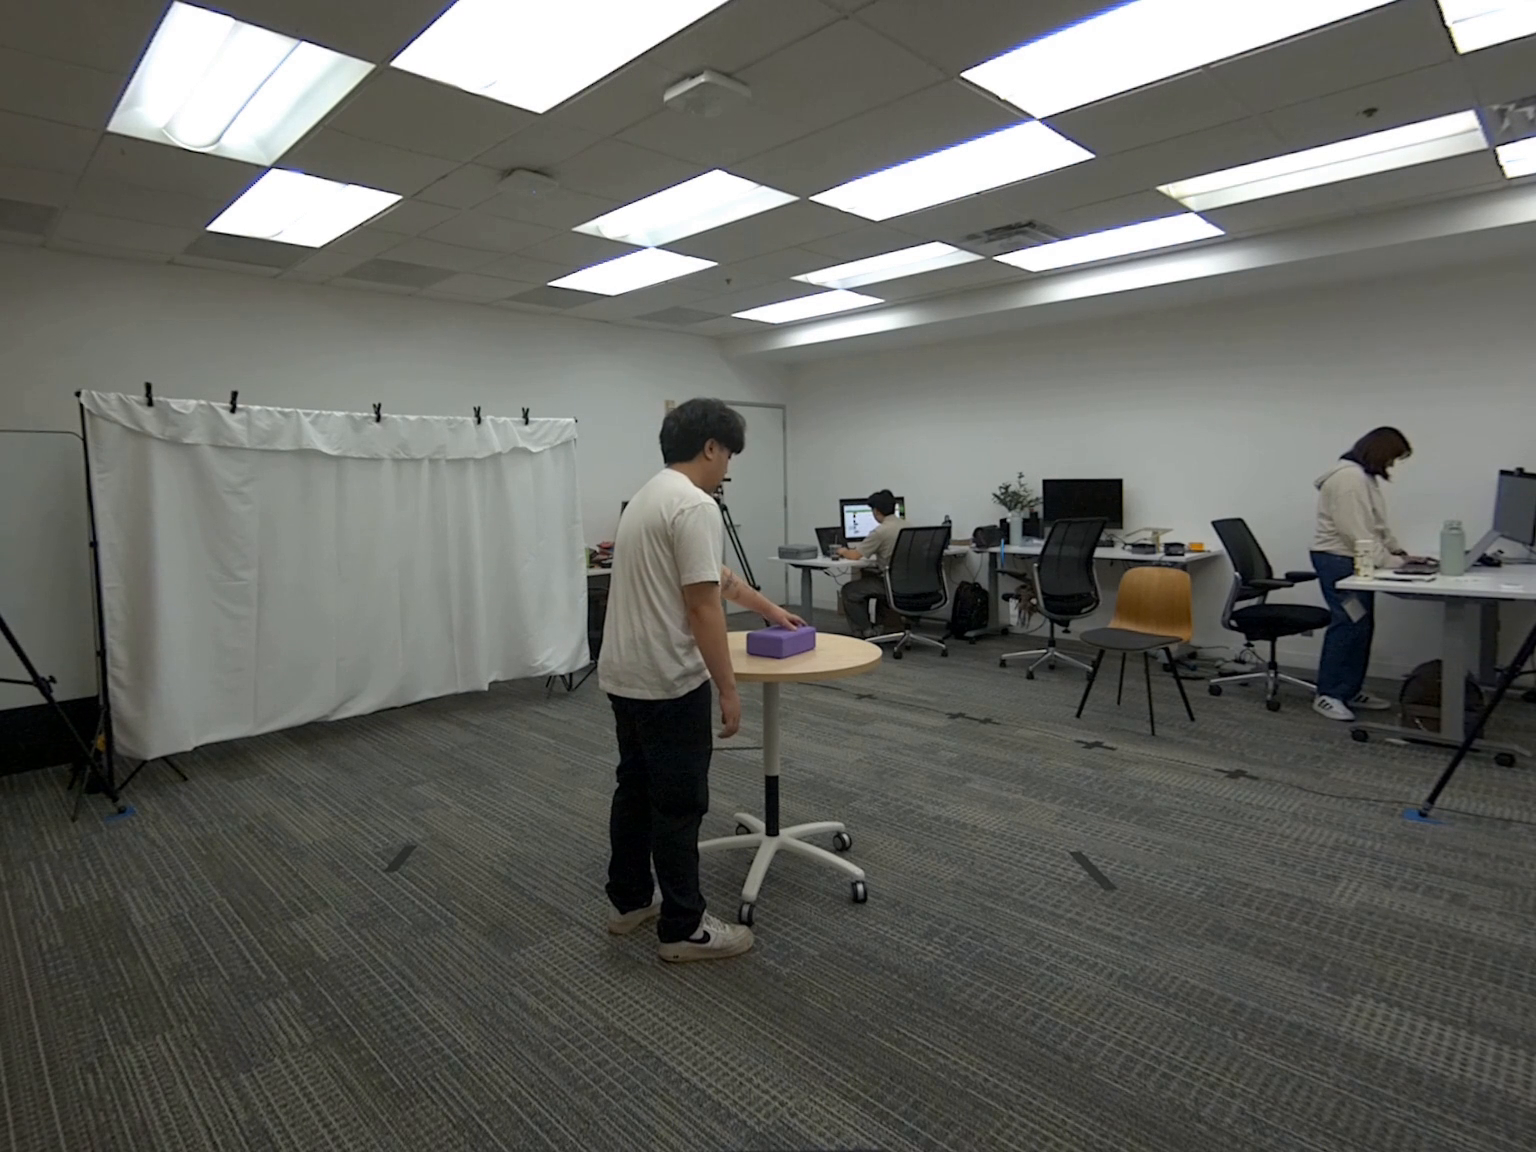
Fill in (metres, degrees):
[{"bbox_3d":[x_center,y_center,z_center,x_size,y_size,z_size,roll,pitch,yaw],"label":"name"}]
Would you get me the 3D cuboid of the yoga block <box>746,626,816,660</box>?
[{"bbox_3d":[0.049,0.225,2.931,0.153,0.076,0.224,3,7,34],"label":"yoga block"}]
